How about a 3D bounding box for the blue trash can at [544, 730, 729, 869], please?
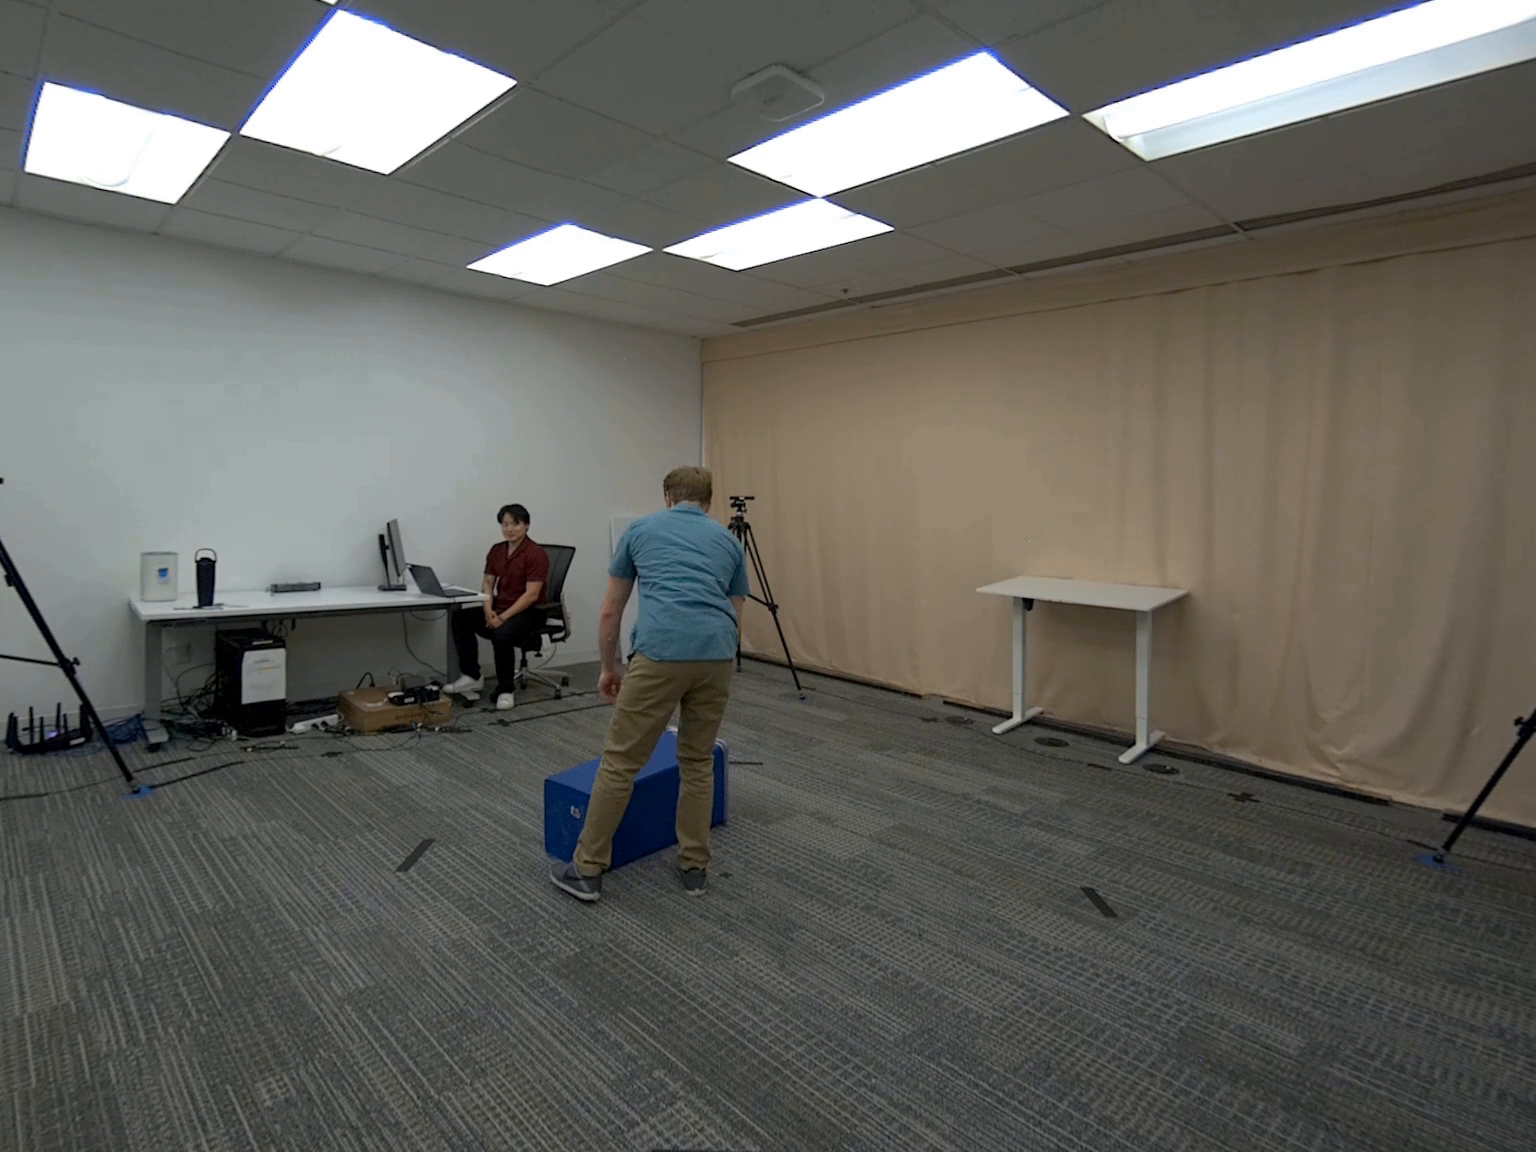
[{"bbox_3d":[-0.526,0.904,3.411,0.383,0.376,0.699,6,10,38],"label":"blue trash can"}]
